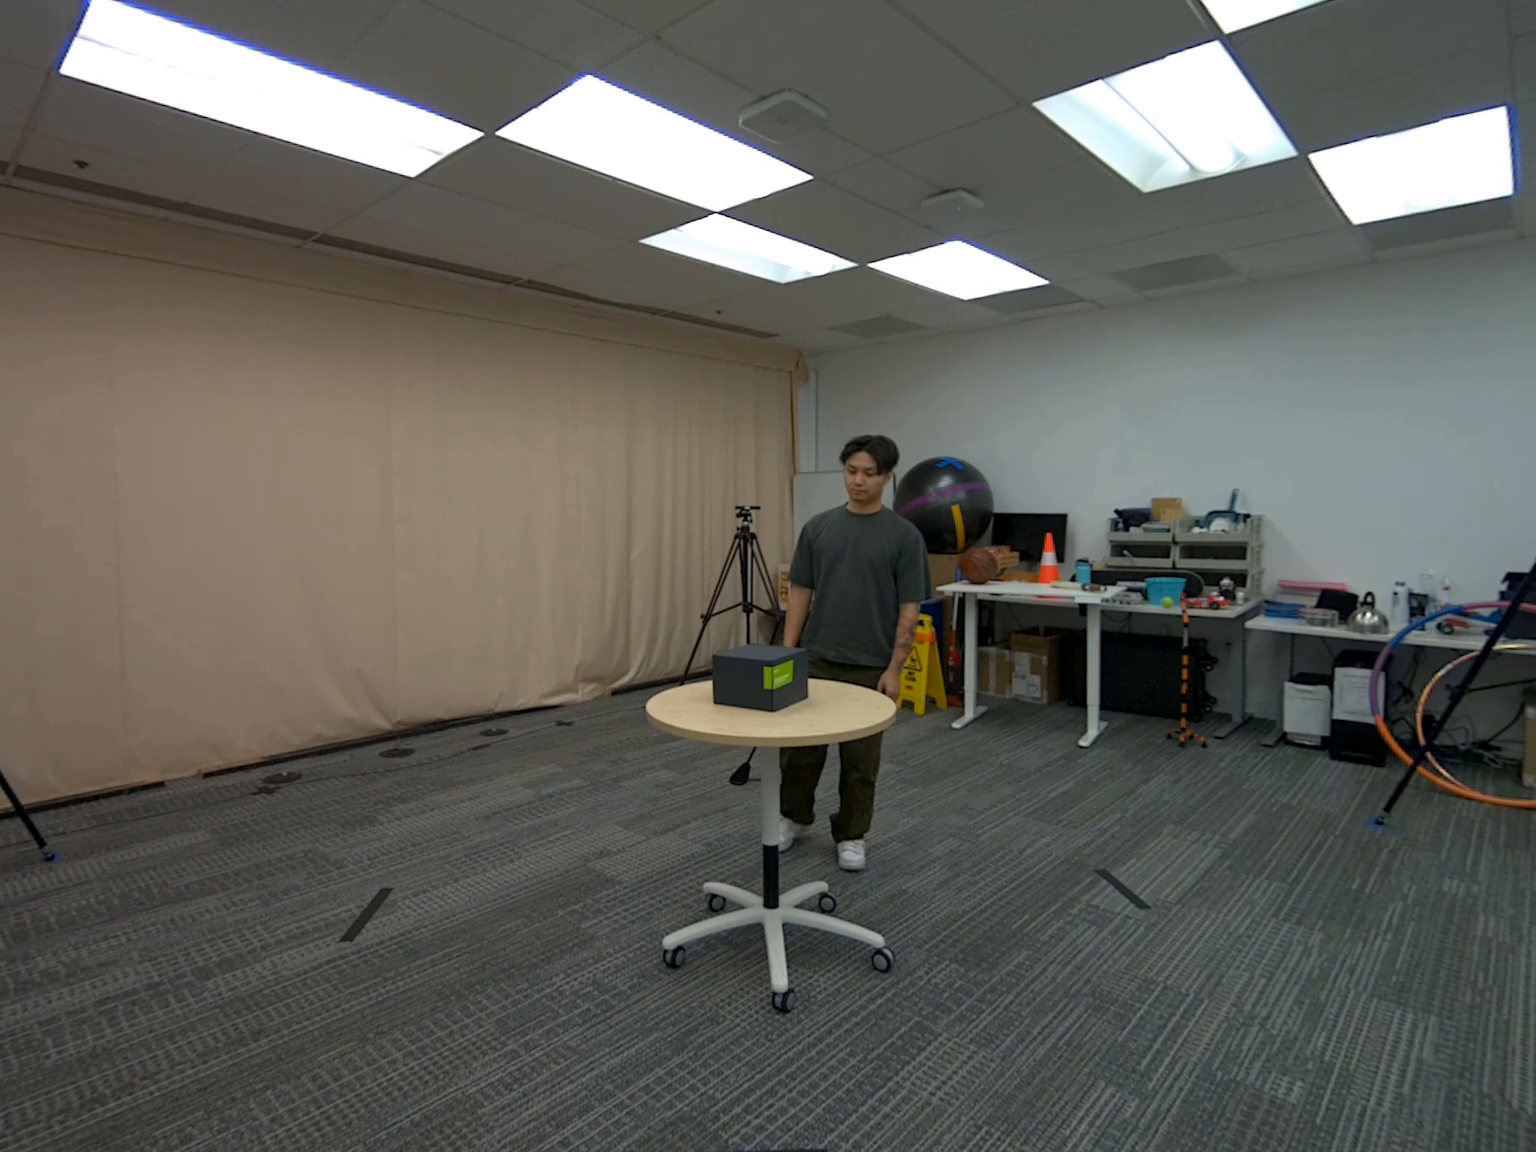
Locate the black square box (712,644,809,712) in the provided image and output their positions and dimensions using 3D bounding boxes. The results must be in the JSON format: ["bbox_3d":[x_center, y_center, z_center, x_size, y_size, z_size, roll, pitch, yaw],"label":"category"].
[{"bbox_3d":[-0.015,0.311,2.628,0.223,0.155,0.222,2,5,31],"label":"black square box"}]
